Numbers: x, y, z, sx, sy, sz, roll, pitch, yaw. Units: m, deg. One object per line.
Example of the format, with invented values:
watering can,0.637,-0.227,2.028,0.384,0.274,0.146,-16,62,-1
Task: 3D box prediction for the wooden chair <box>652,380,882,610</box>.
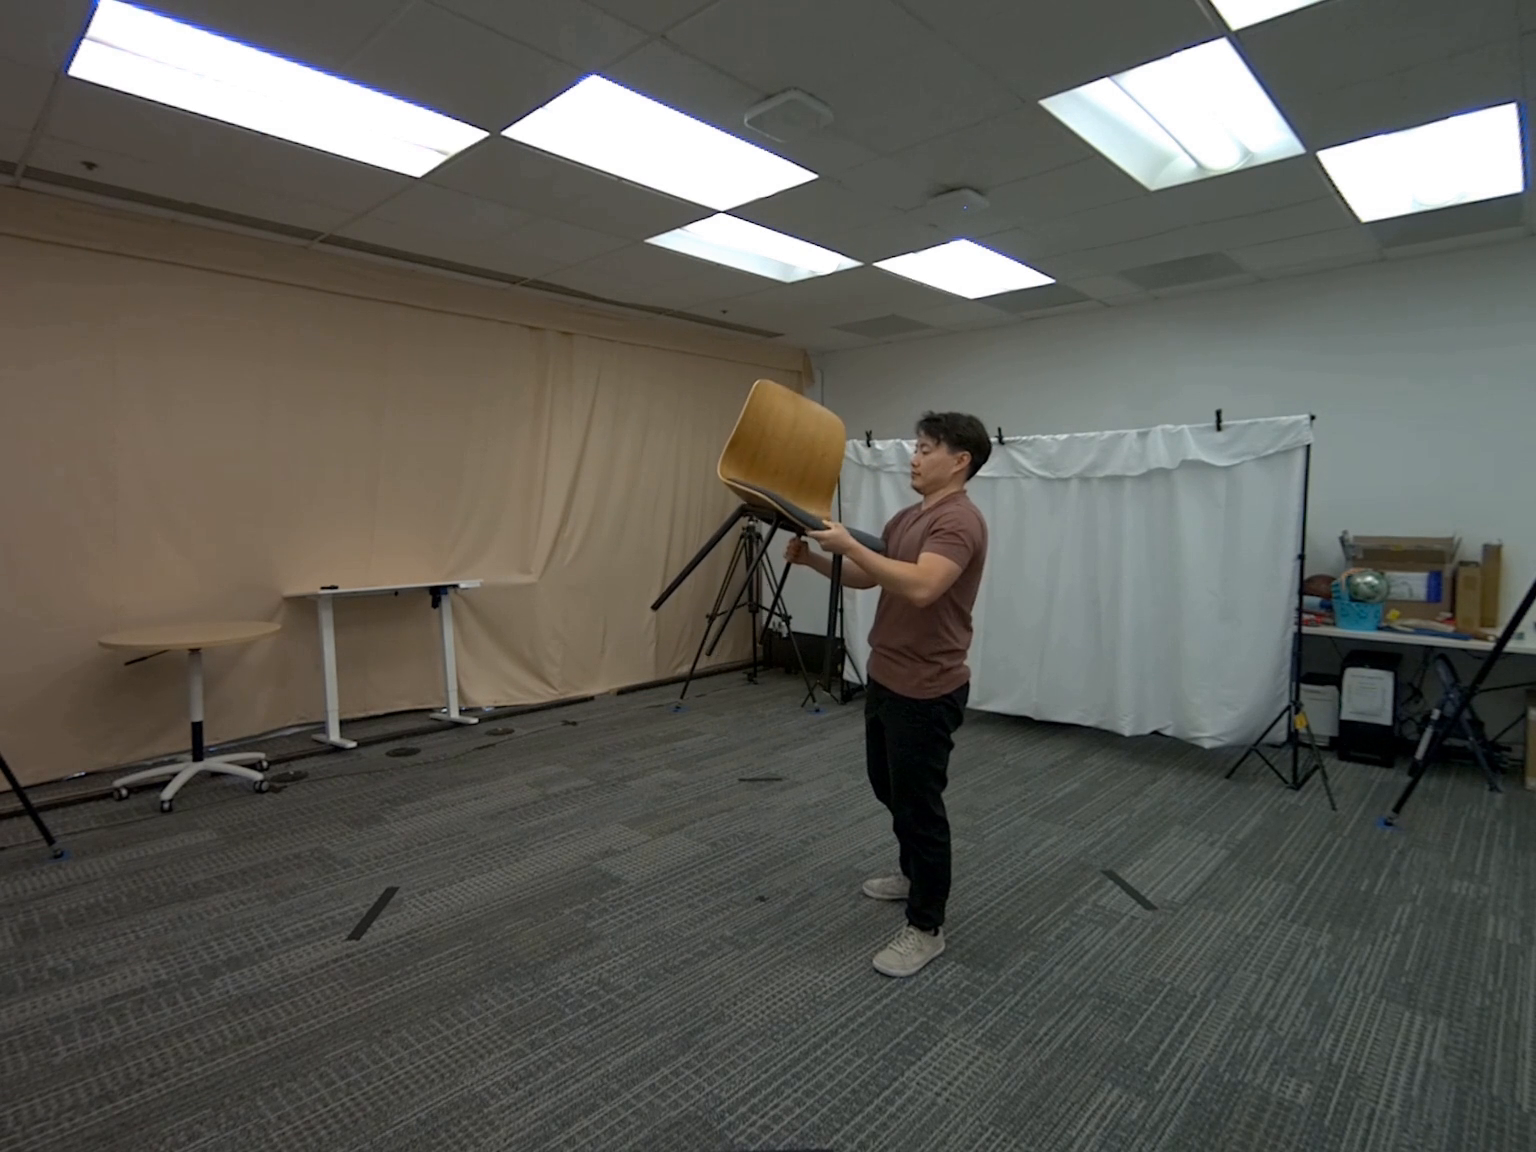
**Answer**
wooden chair,0.075,-0.162,2.615,0.463,0.877,0.539,22,-2,-30
